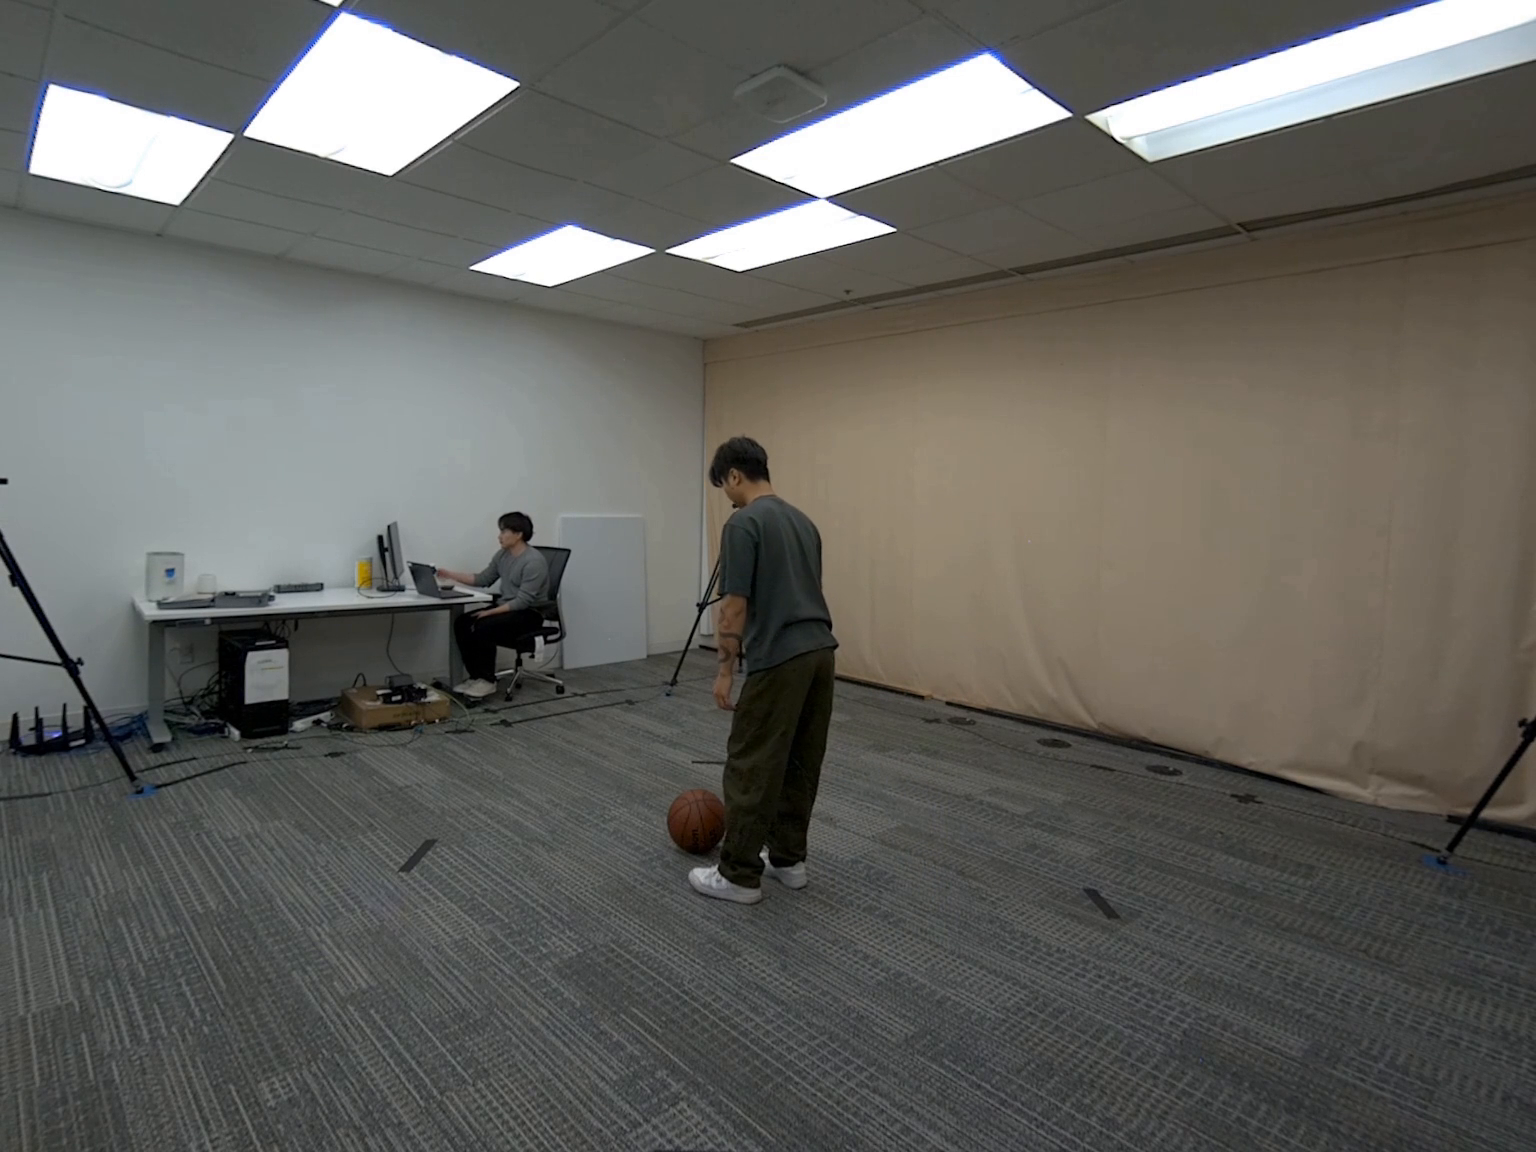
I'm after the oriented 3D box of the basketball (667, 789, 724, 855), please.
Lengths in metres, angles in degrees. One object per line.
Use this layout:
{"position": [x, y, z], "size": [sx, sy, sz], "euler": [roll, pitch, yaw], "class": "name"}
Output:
{"position": [-0.285, 0.959, 3.318], "size": [0.236, 0.235, 0.237], "euler": [1, 4, -1], "class": "basketball"}
